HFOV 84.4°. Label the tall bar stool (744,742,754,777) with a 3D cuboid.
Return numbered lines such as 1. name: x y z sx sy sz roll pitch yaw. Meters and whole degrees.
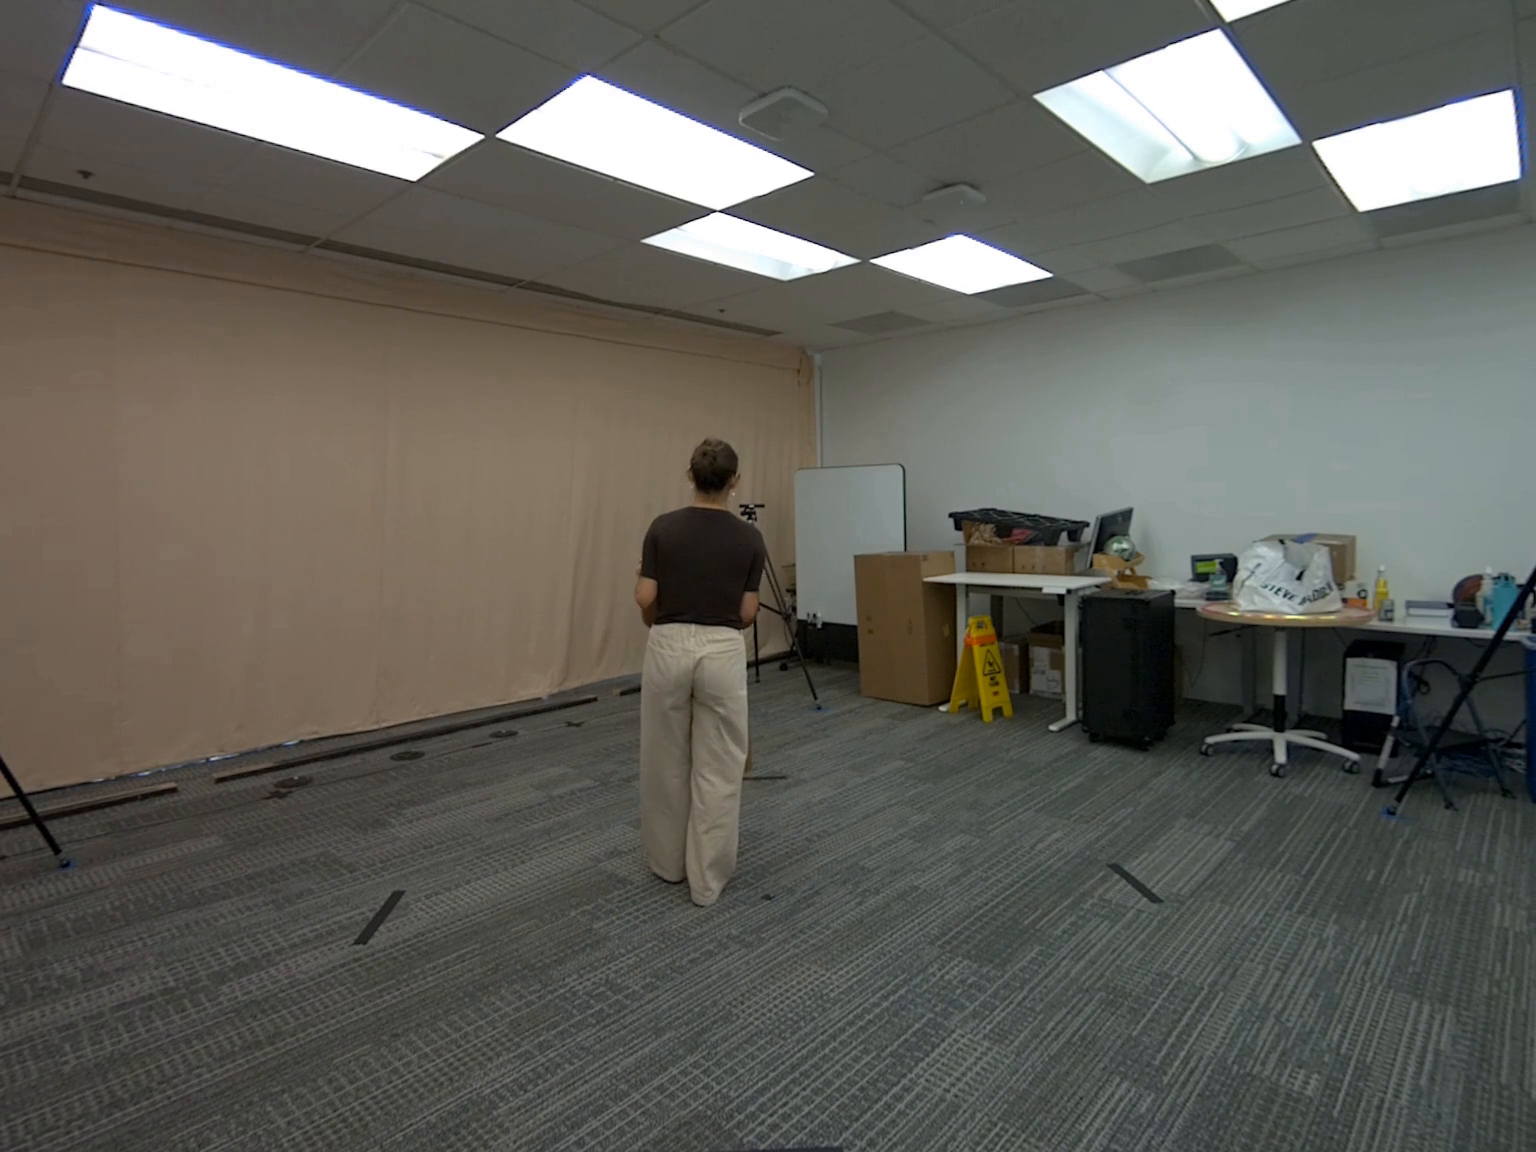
1. tall bar stool: -0.277 0.303 3.331 0.454 0.891 0.469 -1 -3 -5
